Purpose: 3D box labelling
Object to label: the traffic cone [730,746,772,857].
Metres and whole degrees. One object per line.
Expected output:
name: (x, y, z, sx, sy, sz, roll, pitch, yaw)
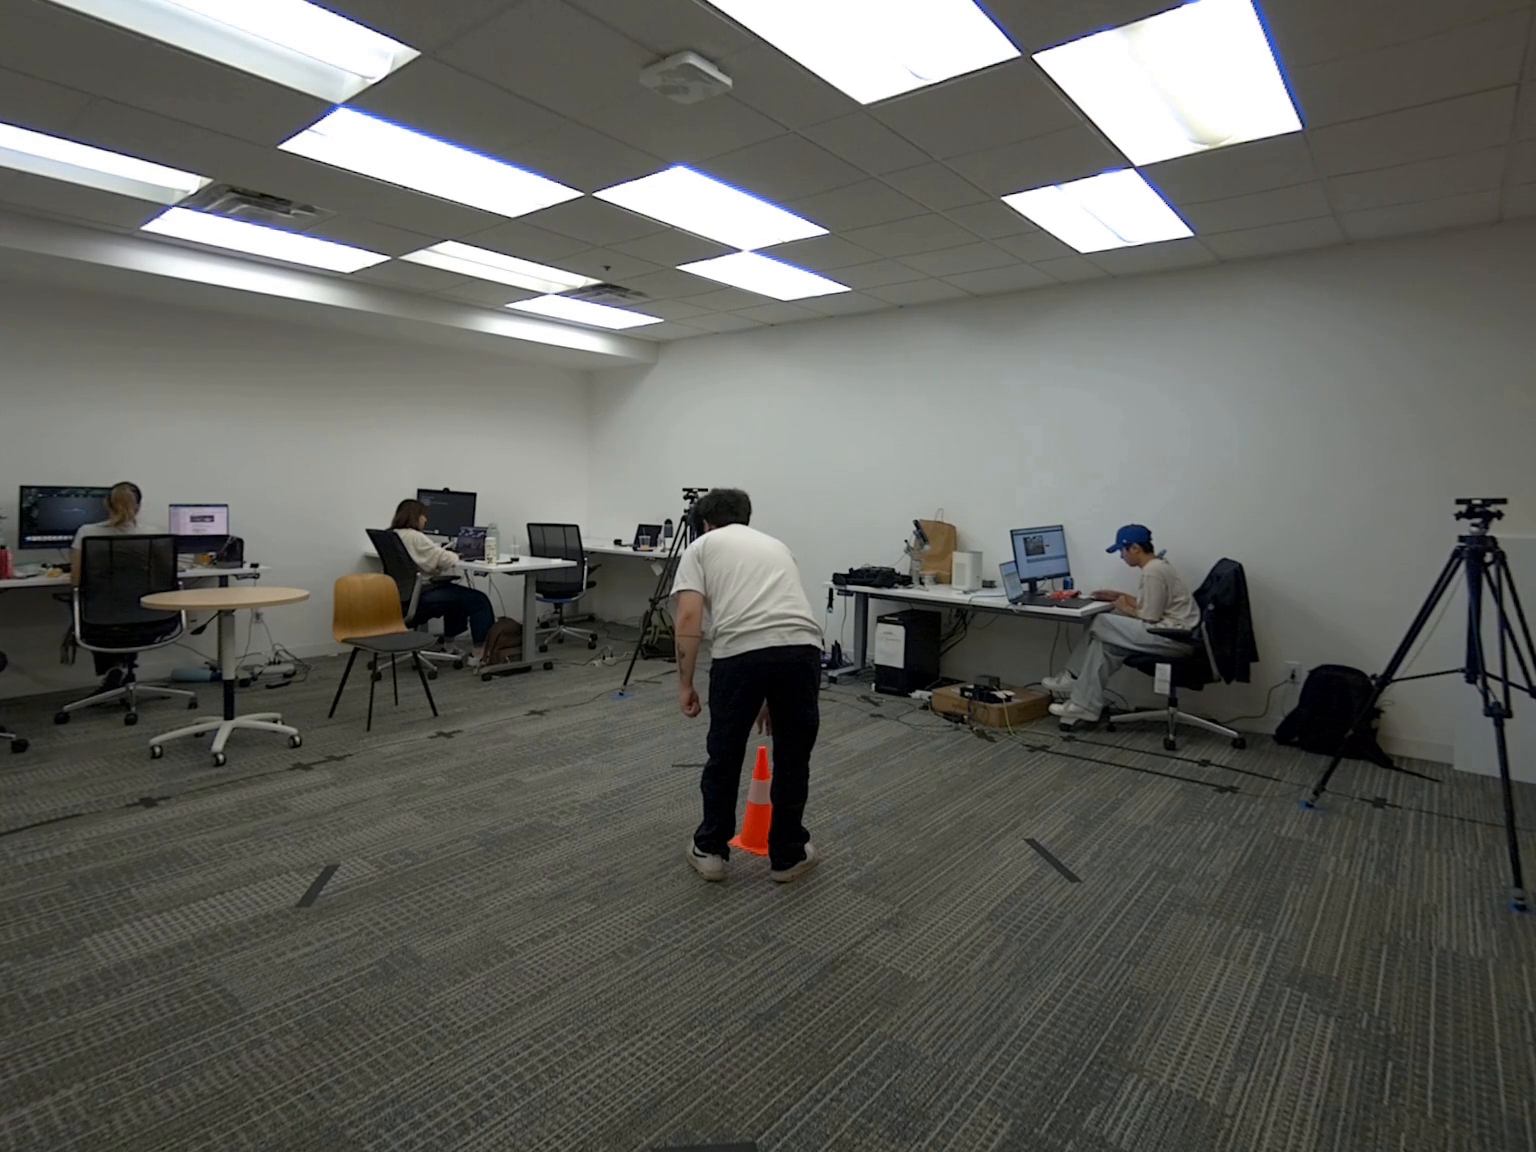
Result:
traffic cone: (-0.042, 0.856, 3.353, 0.210, 0.383, 0.199, 4, 4, 43)
